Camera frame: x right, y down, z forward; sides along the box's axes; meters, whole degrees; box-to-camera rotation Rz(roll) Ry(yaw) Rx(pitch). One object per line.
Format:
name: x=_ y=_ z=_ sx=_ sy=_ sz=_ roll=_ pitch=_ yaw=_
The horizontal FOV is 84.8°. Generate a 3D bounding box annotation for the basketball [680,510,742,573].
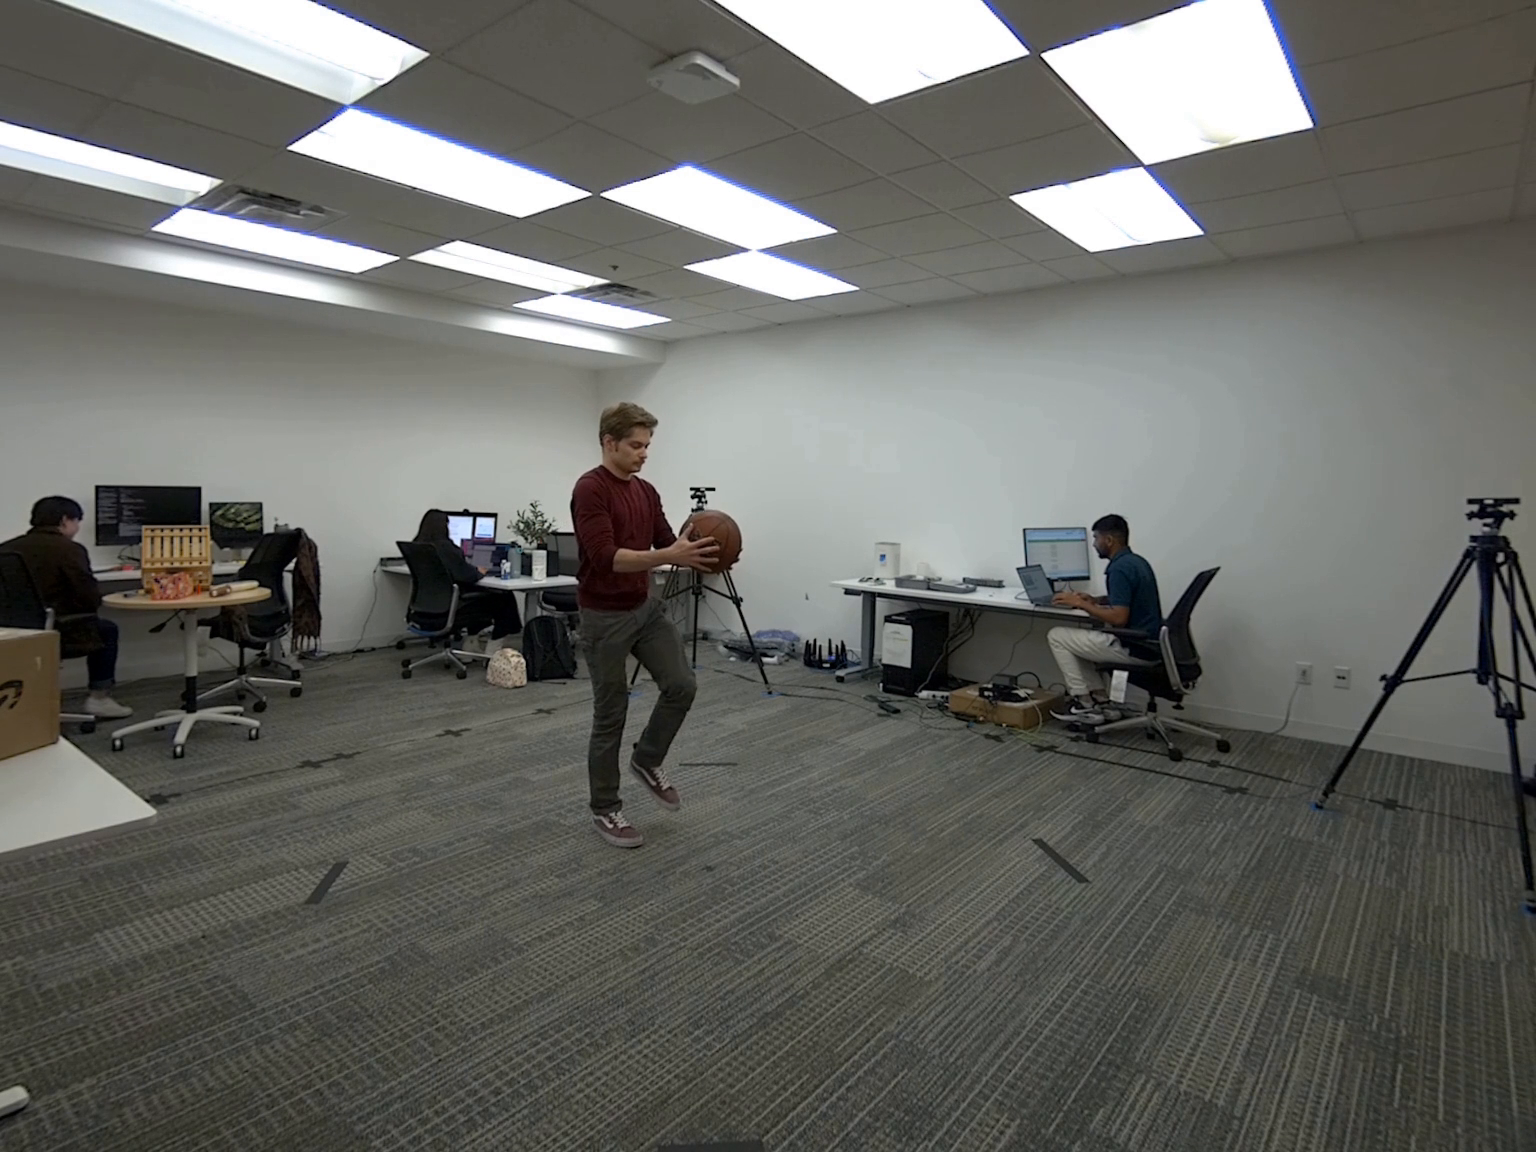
basketball: x=-0.225 y=-0.132 z=3.152 sx=0.235 sy=0.235 sz=0.237 roll=1 pitch=4 yaw=-2
